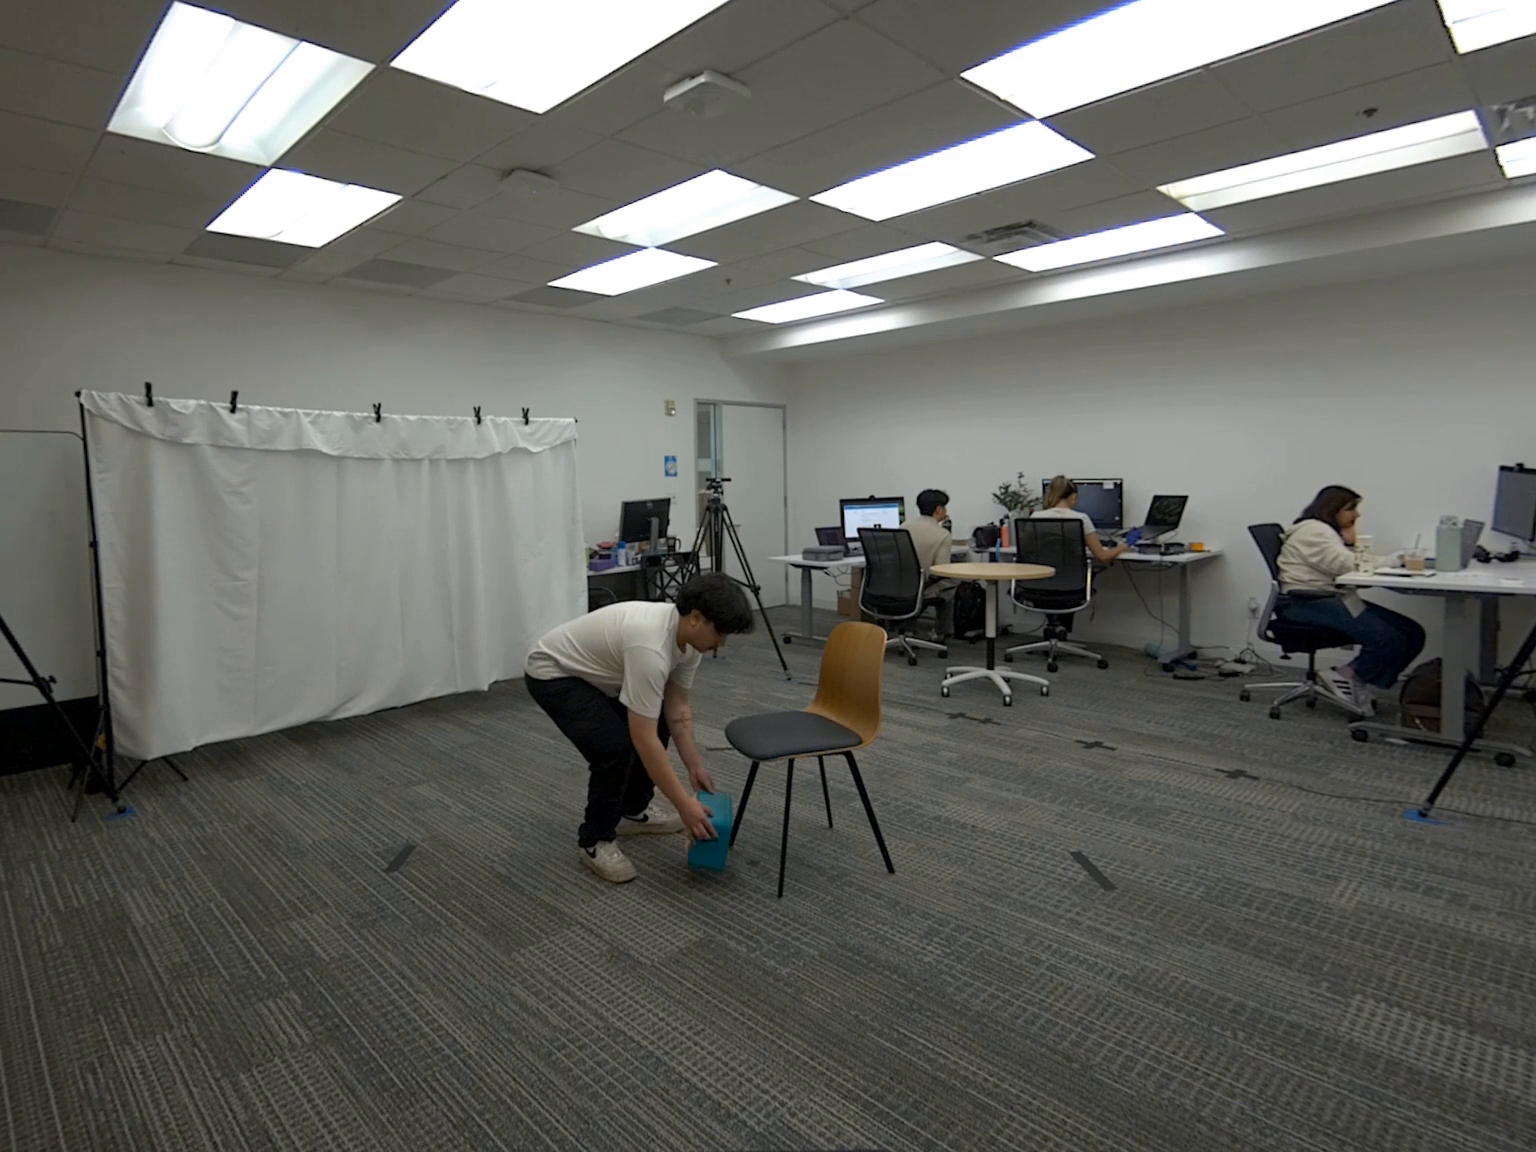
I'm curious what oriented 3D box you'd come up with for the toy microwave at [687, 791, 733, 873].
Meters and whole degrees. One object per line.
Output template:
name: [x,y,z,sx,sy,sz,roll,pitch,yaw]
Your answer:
toy microwave: [-0.202,0.881,3.020,0.151,0.184,0.288,8,3,-7]
